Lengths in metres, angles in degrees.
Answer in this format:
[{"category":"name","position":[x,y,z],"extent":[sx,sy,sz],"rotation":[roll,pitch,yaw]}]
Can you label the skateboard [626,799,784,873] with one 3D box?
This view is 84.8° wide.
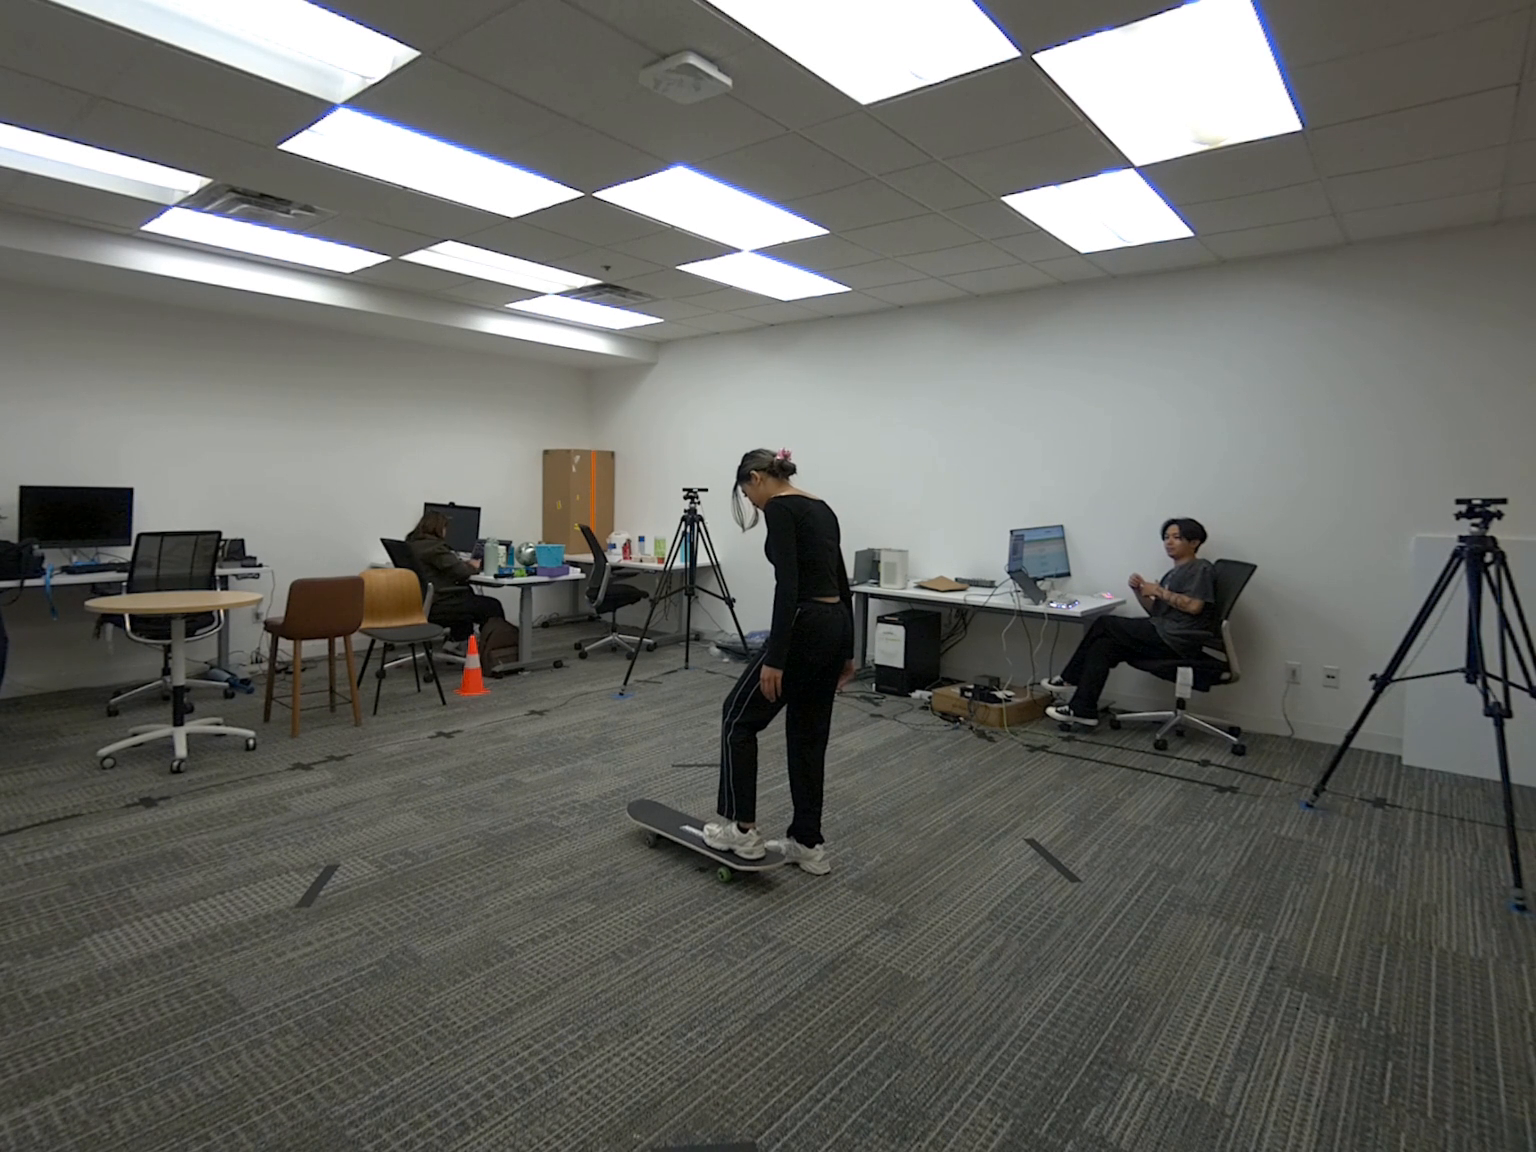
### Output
[{"category":"skateboard","position":[-0.270,1.006,3.211],"extent":[0.813,0.110,0.188],"rotation":[7,7,43]}]
